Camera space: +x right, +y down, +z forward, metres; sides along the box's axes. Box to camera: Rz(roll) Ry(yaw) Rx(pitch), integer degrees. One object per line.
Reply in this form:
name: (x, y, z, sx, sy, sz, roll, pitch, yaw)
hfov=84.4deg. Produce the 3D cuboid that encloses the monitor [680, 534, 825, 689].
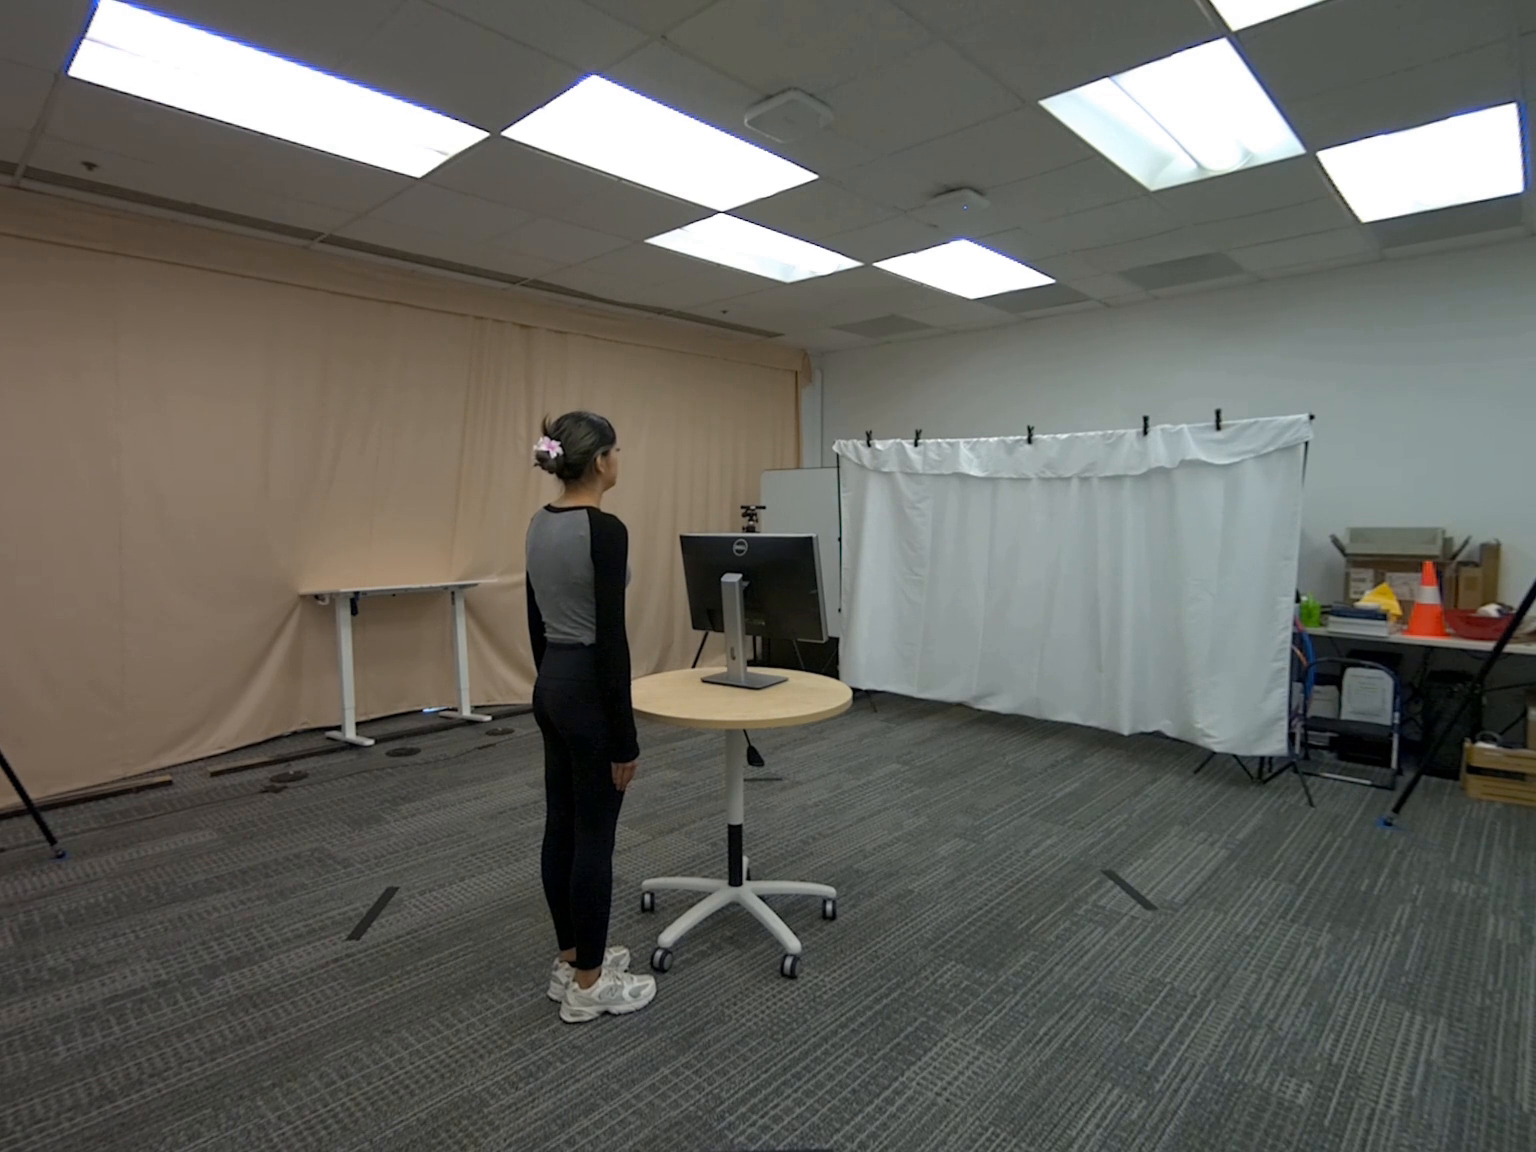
monitor: (-0.078, 0.119, 2.877, 0.556, 0.522, 0.181, 2, 1, 34)
